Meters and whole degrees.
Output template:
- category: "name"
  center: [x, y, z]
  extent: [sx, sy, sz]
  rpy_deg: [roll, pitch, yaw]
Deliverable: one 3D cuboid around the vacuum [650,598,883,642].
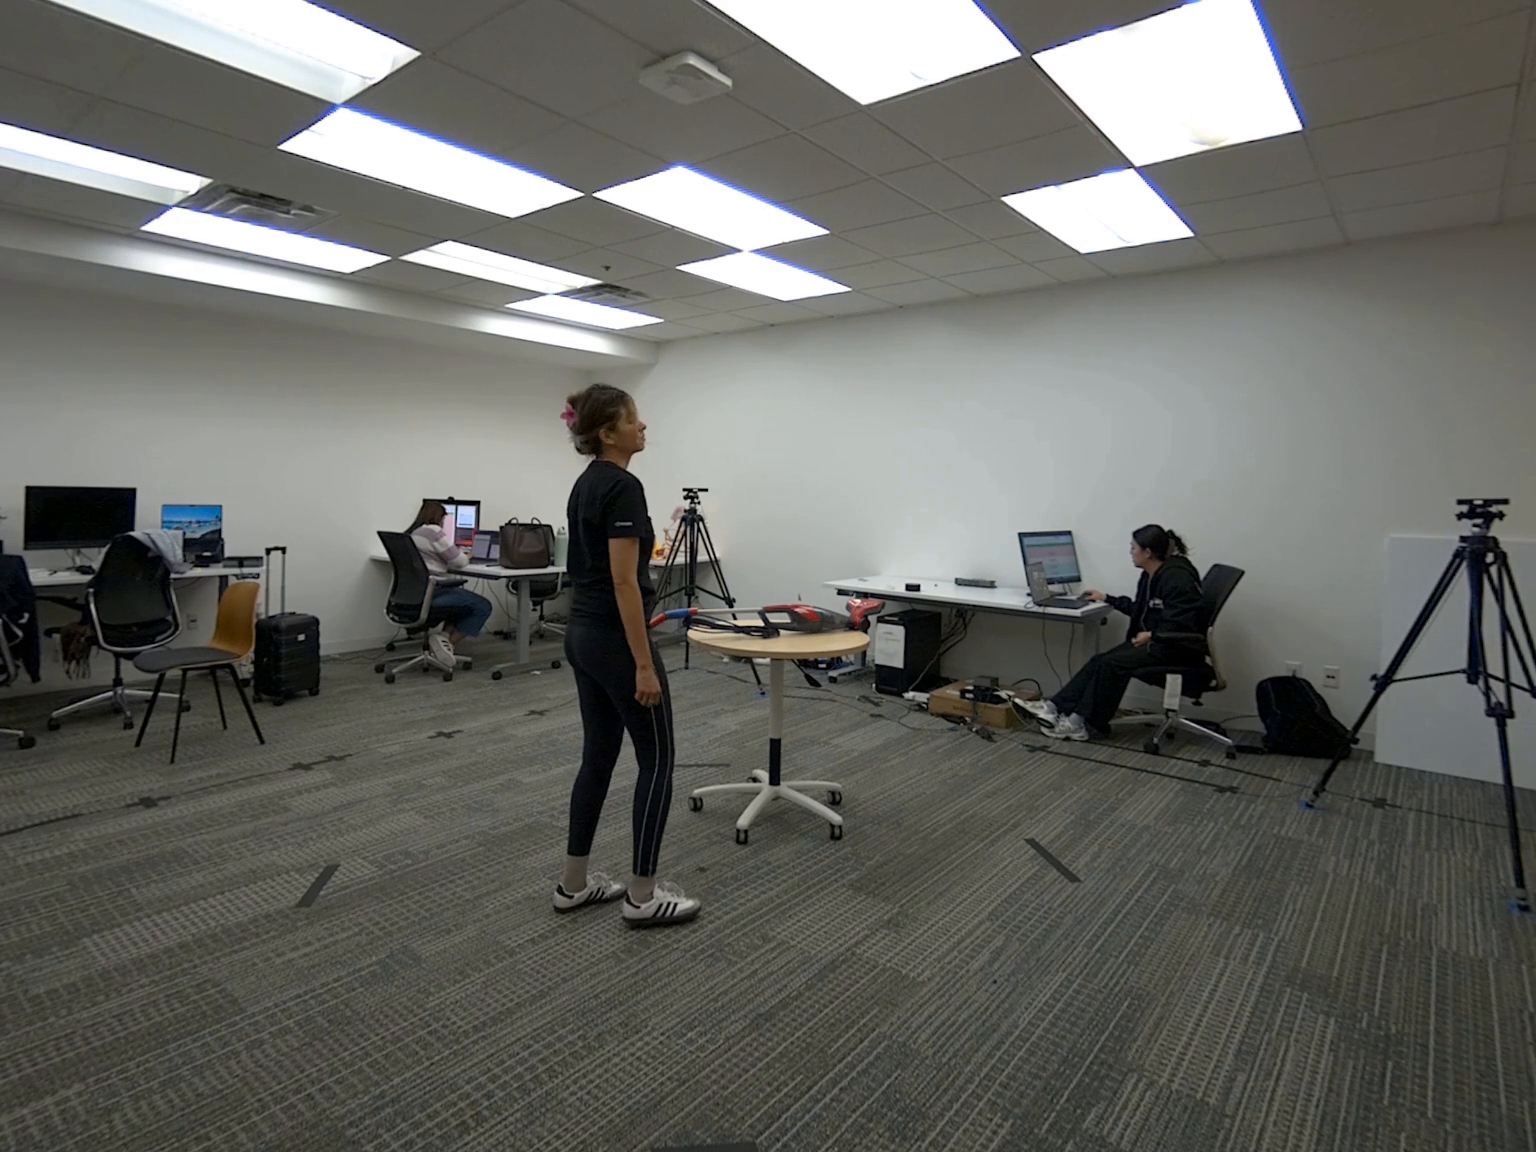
- category: "vacuum"
  center: [-0.033, 0.195, 3.538]
  extent: [1.023, 0.144, 0.259]
  rpy_deg: [-3, 1, -28]
